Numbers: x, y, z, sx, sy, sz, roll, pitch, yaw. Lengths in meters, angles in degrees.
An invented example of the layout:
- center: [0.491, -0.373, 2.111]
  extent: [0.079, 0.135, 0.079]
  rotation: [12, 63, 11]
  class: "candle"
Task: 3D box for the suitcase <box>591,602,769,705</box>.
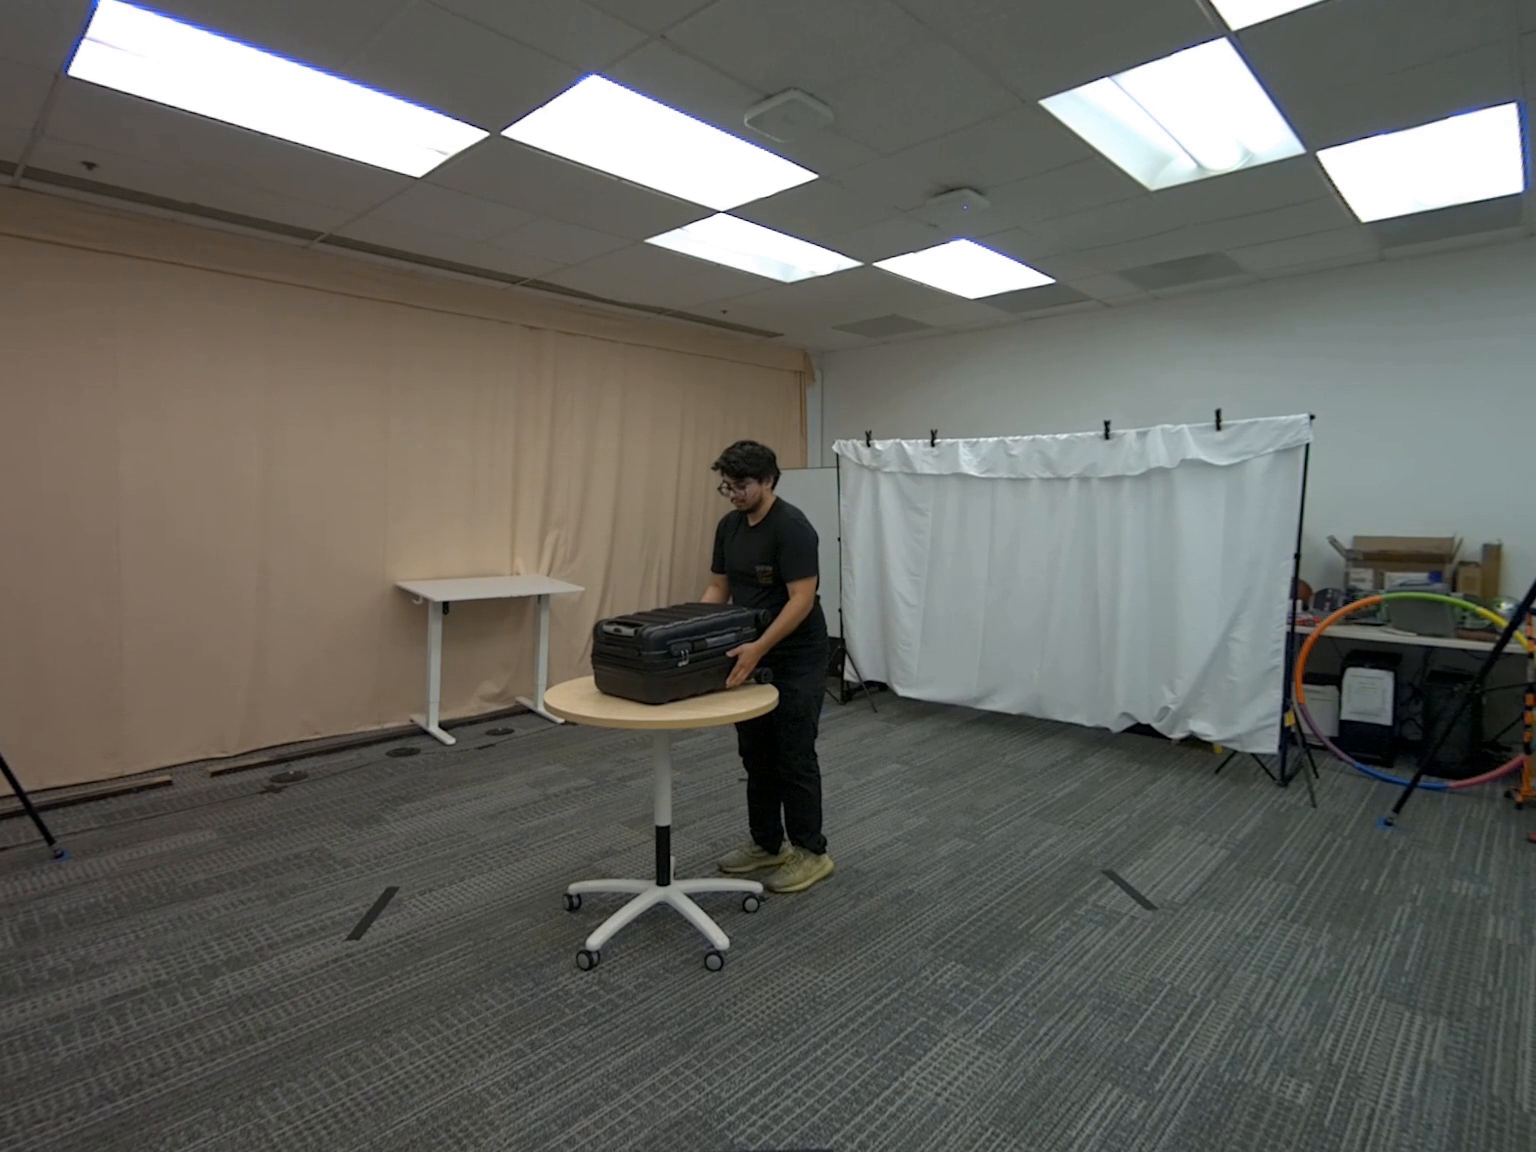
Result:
- center: [-0.302, 0.252, 2.809]
  extent: [0.388, 0.247, 0.533]
  rotation: [5, 8, 43]
  class: "suitcase"
